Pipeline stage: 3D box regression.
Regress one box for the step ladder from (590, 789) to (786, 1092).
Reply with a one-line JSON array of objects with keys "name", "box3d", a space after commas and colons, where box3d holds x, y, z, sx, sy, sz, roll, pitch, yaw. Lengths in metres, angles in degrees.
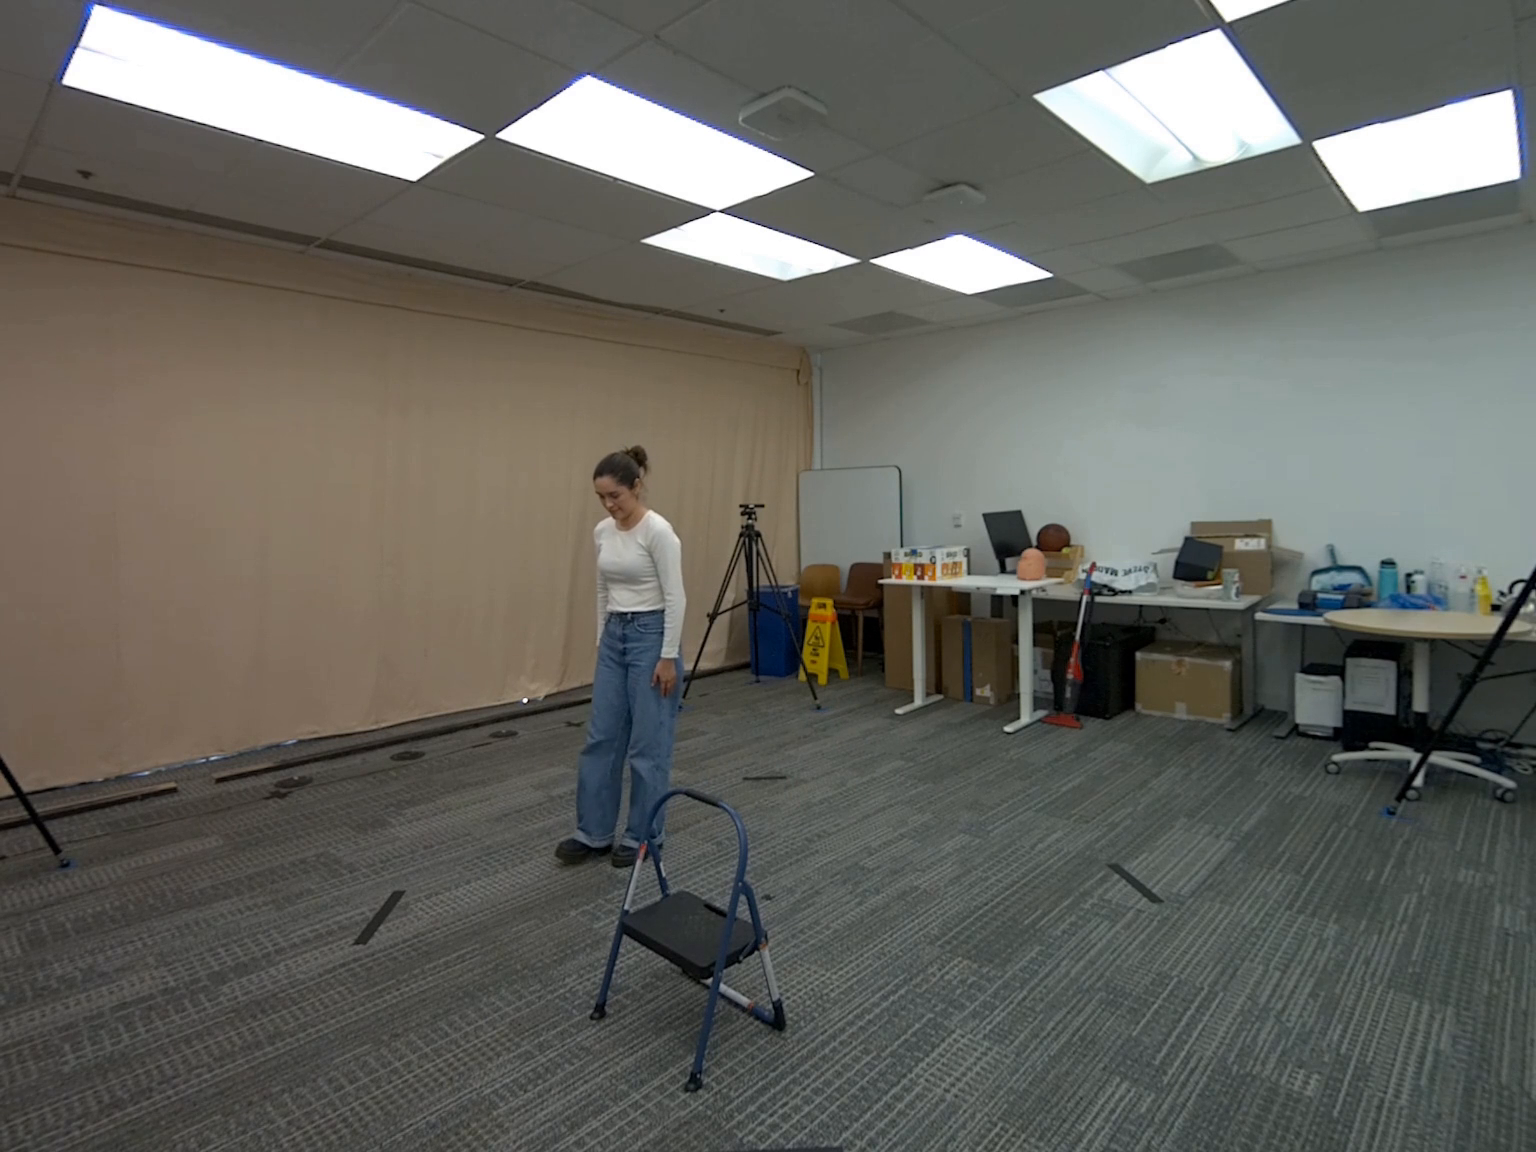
[{"name": "step ladder", "box3d": [-0.215, 0.905, 2.249, 0.445, 0.604, 0.339, 3, 6, 44]}]
